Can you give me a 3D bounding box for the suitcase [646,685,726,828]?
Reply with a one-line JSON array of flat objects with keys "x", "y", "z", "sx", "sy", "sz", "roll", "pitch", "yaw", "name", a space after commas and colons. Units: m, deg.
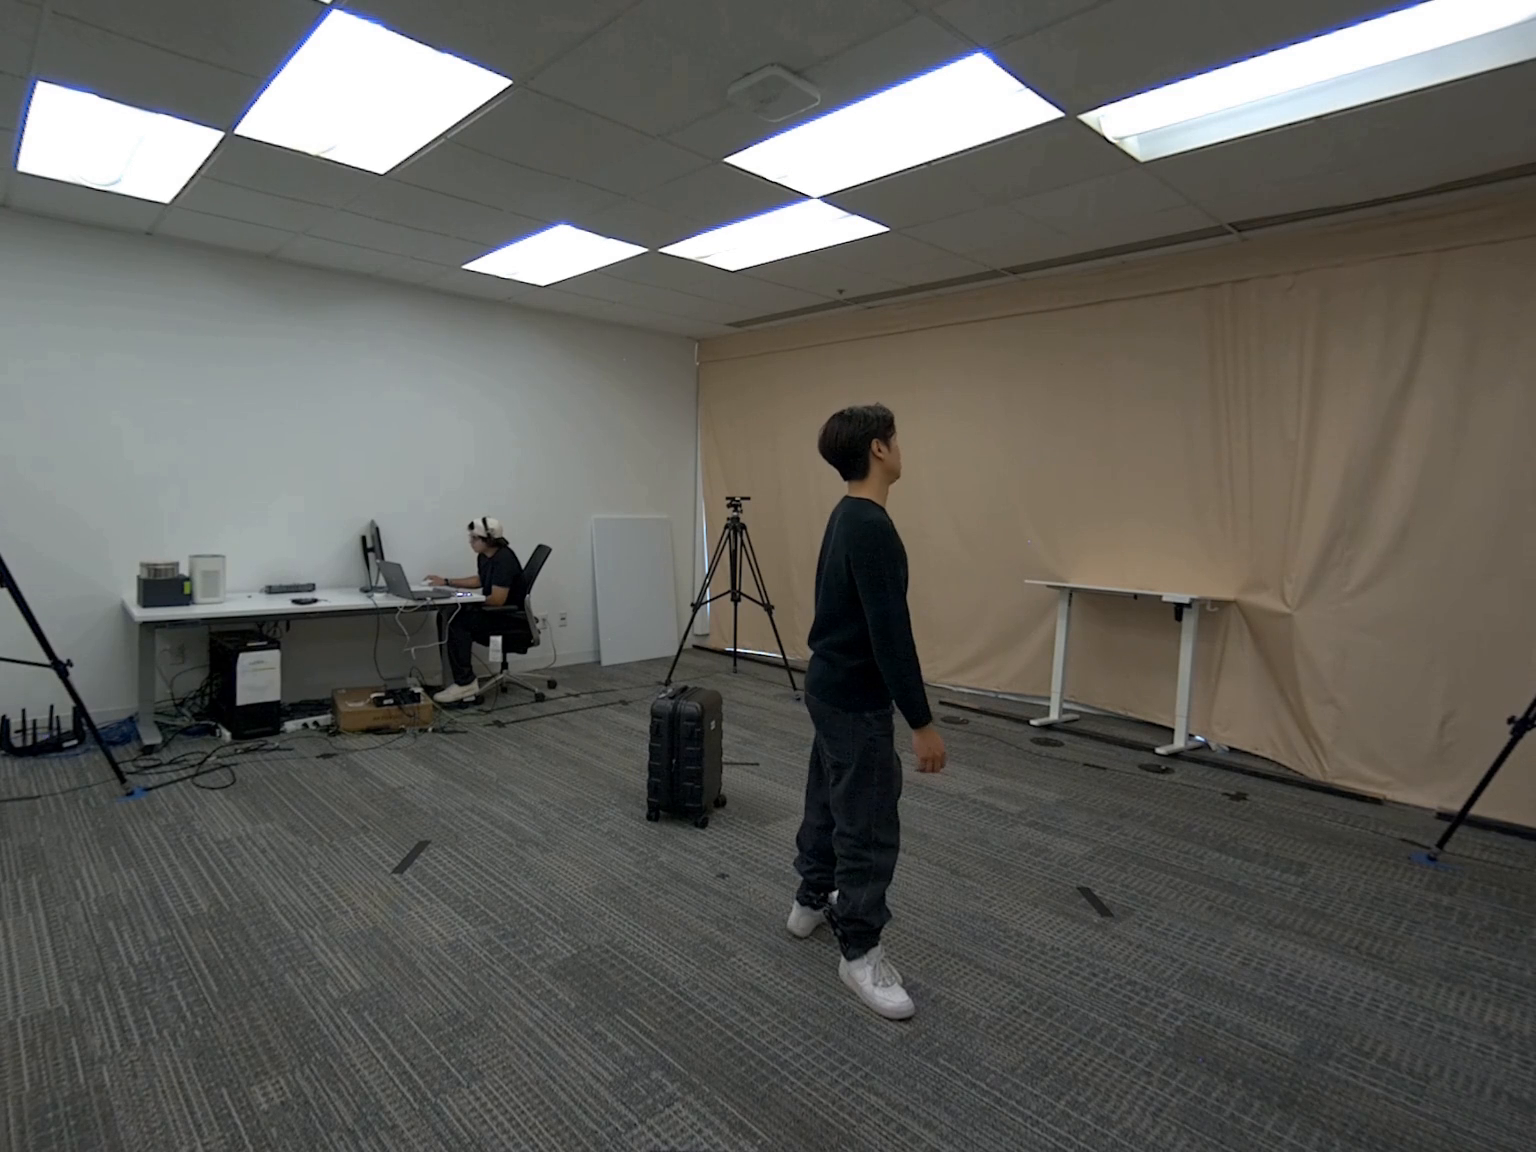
[{"x": -0.373, "y": 0.773, "z": 3.712, "sx": 0.251, "sy": 0.548, "sz": 0.372, "roll": 3, "pitch": 3, "yaw": 14, "name": "suitcase"}]
